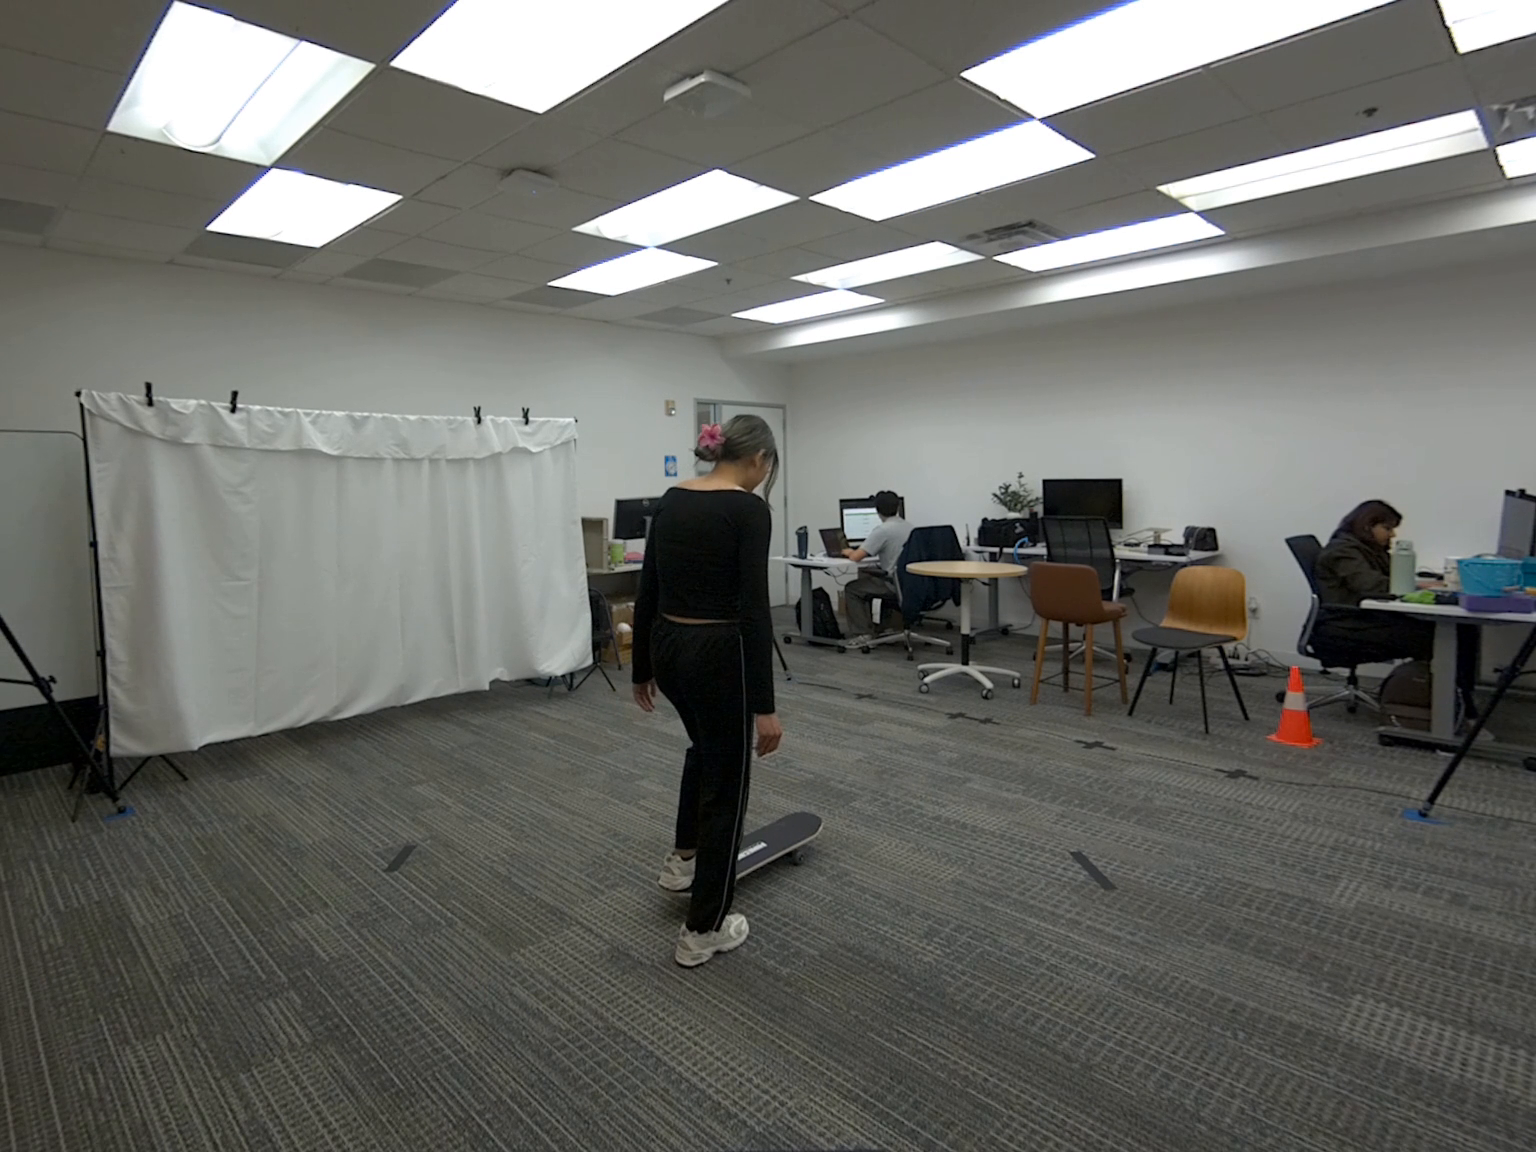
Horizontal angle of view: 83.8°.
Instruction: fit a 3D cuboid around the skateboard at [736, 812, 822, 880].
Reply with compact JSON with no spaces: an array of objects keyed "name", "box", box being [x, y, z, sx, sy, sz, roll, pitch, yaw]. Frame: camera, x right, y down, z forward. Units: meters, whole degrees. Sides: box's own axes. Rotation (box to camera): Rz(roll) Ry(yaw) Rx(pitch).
[{"name":"skateboard","box":[-0.079,0.998,2.995,0.199,0.110,0.766,4,9,40]}]
